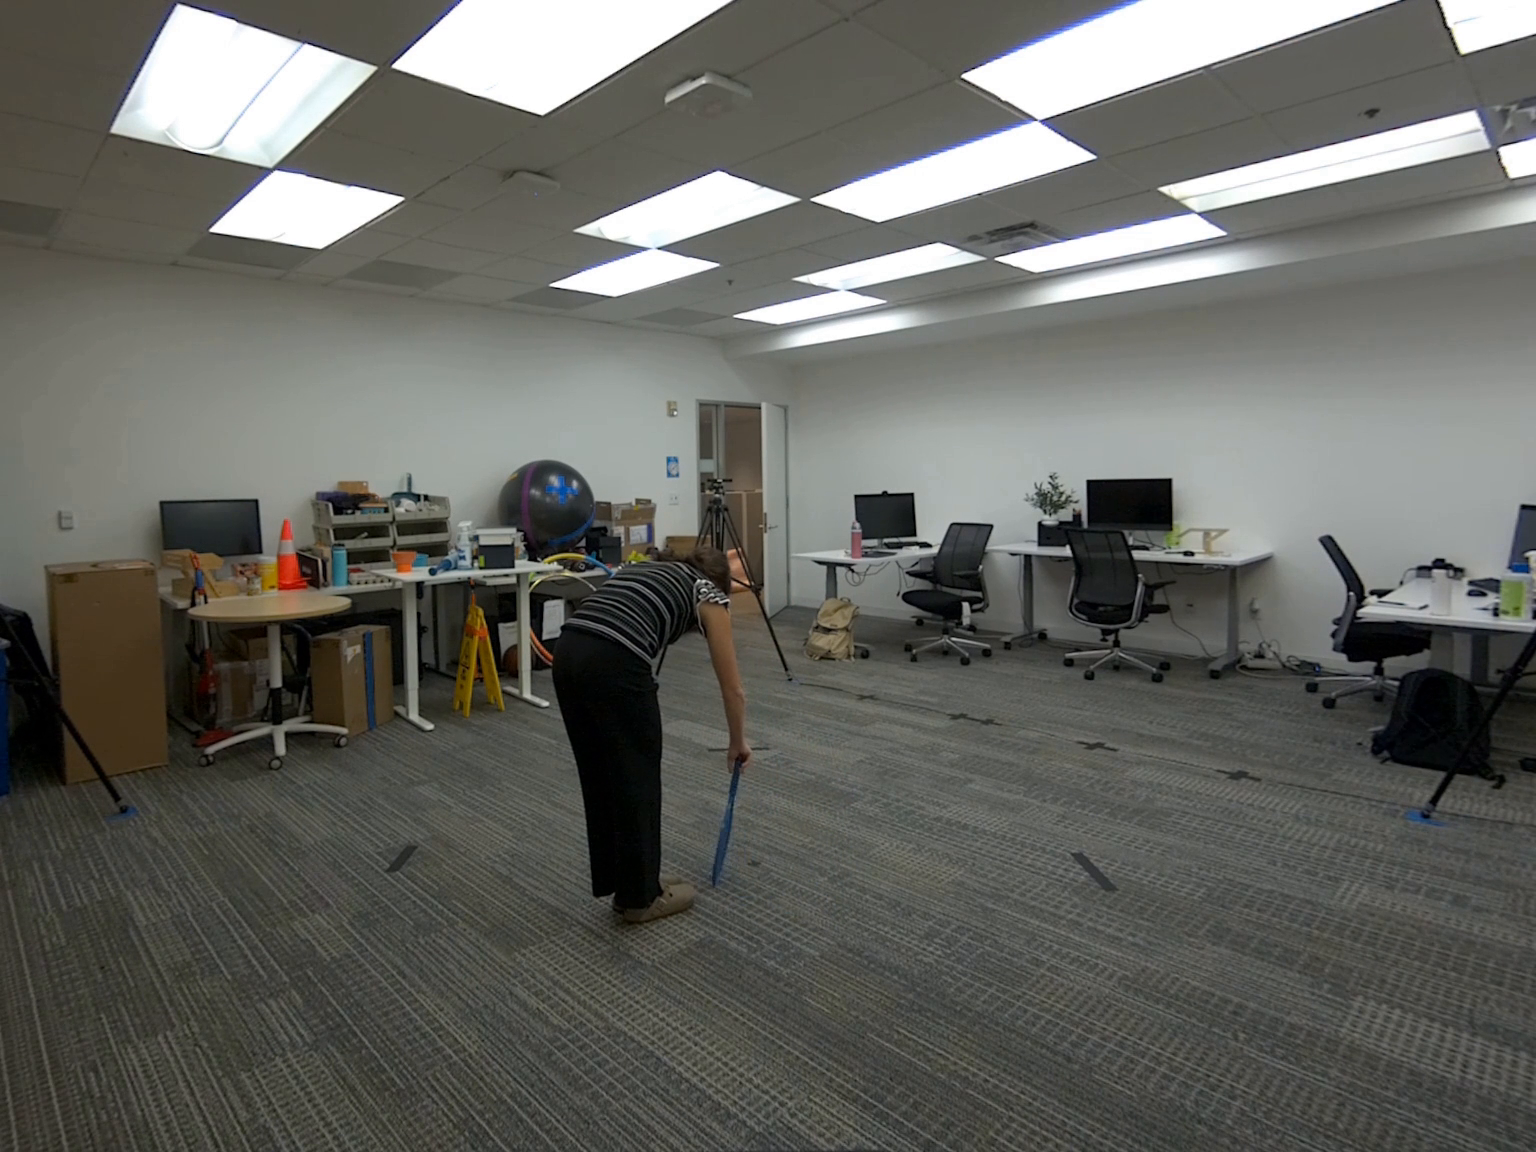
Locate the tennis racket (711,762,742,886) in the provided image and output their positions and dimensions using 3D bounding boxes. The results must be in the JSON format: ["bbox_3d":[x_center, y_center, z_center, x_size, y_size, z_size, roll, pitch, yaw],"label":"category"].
[{"bbox_3d":[-0.140,0.848,2.959,0.032,0.434,0.211,10,-2,7],"label":"tennis racket"}]
